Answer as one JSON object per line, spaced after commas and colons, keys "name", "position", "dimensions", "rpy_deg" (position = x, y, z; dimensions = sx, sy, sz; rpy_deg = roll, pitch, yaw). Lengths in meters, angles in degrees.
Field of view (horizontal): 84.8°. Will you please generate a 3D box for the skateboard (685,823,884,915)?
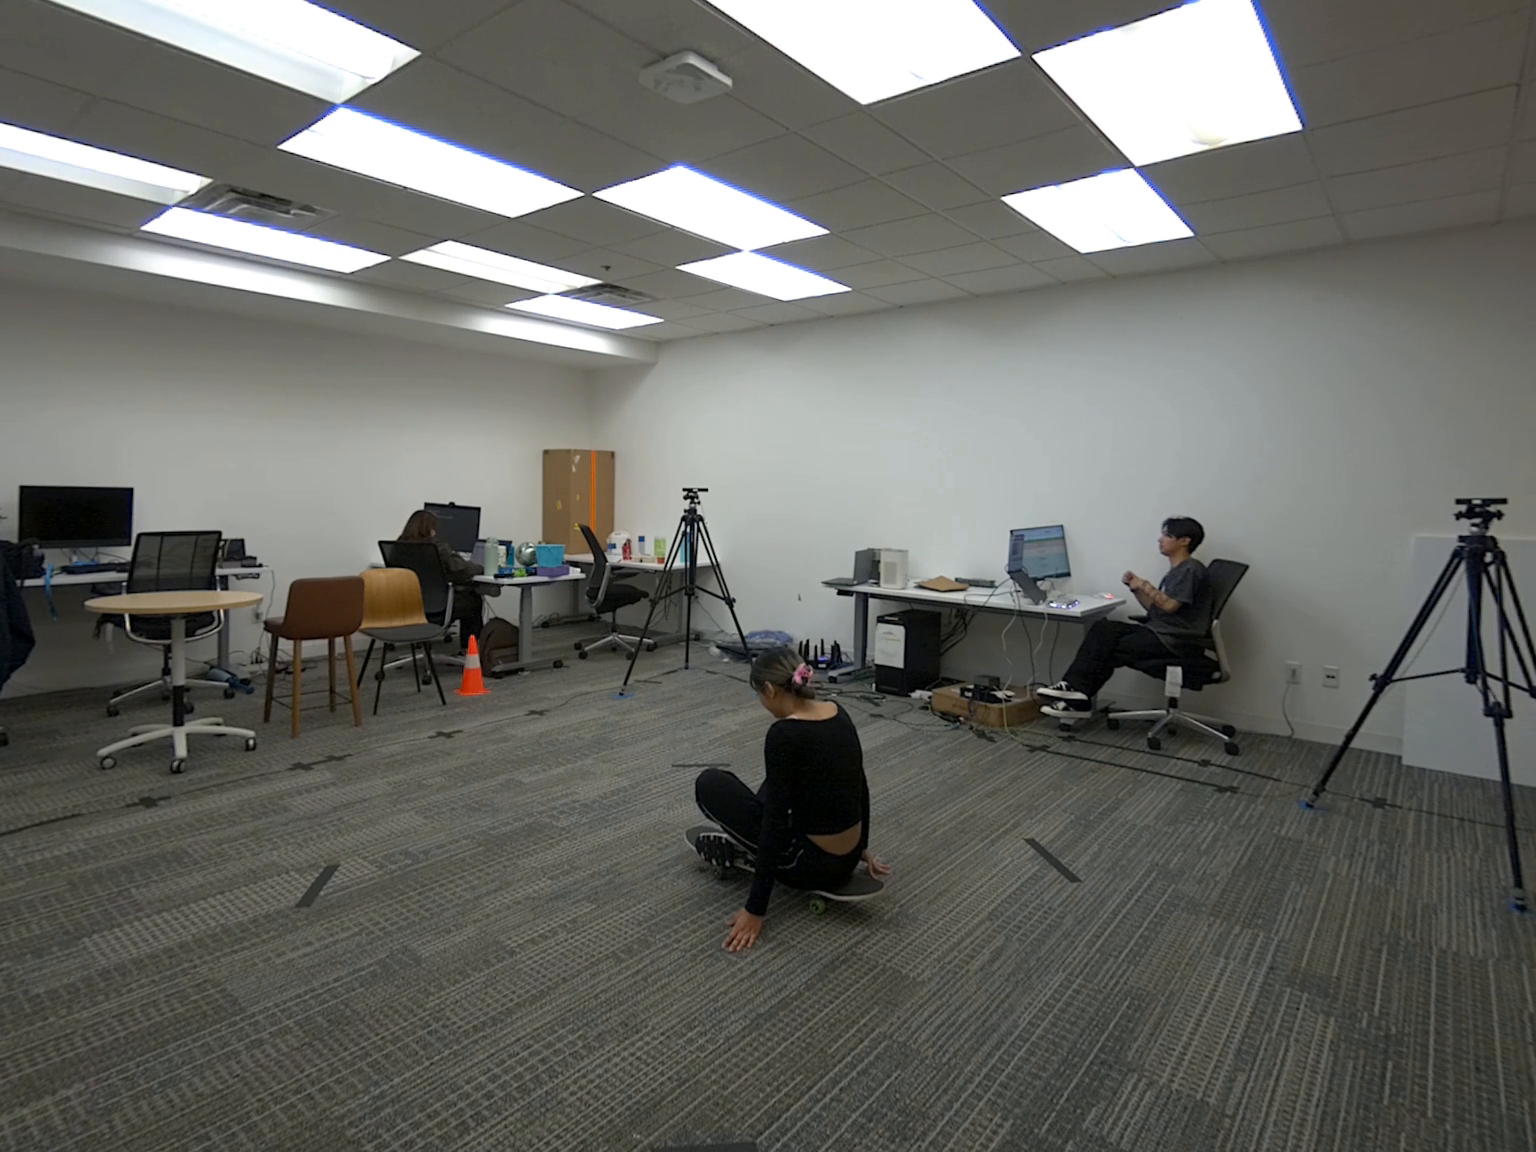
{"name": "skateboard", "position": [0.023, 1.027, 2.977], "dimensions": [0.811, 0.110, 0.188], "rpy_deg": [7, 8, 34]}
